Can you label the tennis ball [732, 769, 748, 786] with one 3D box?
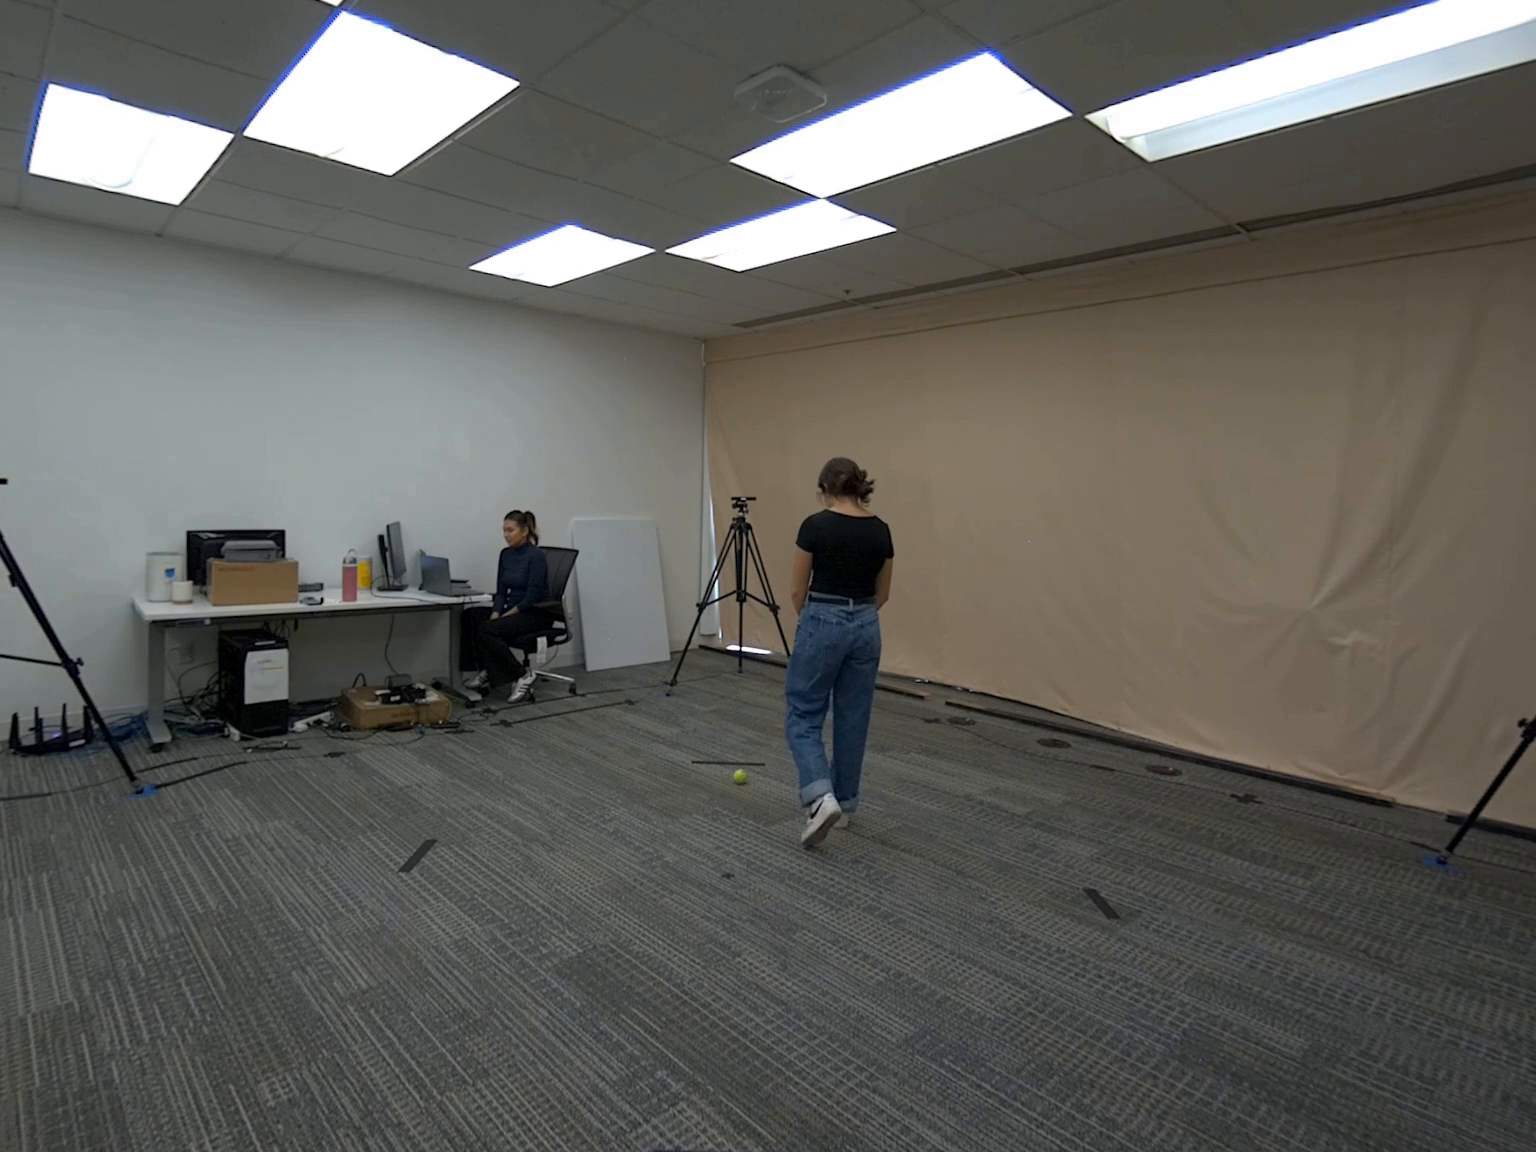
[{"bbox_3d":[-0.142,0.976,4.134,0.066,0.066,0.067,1,4,-1],"label":"tennis ball"}]
